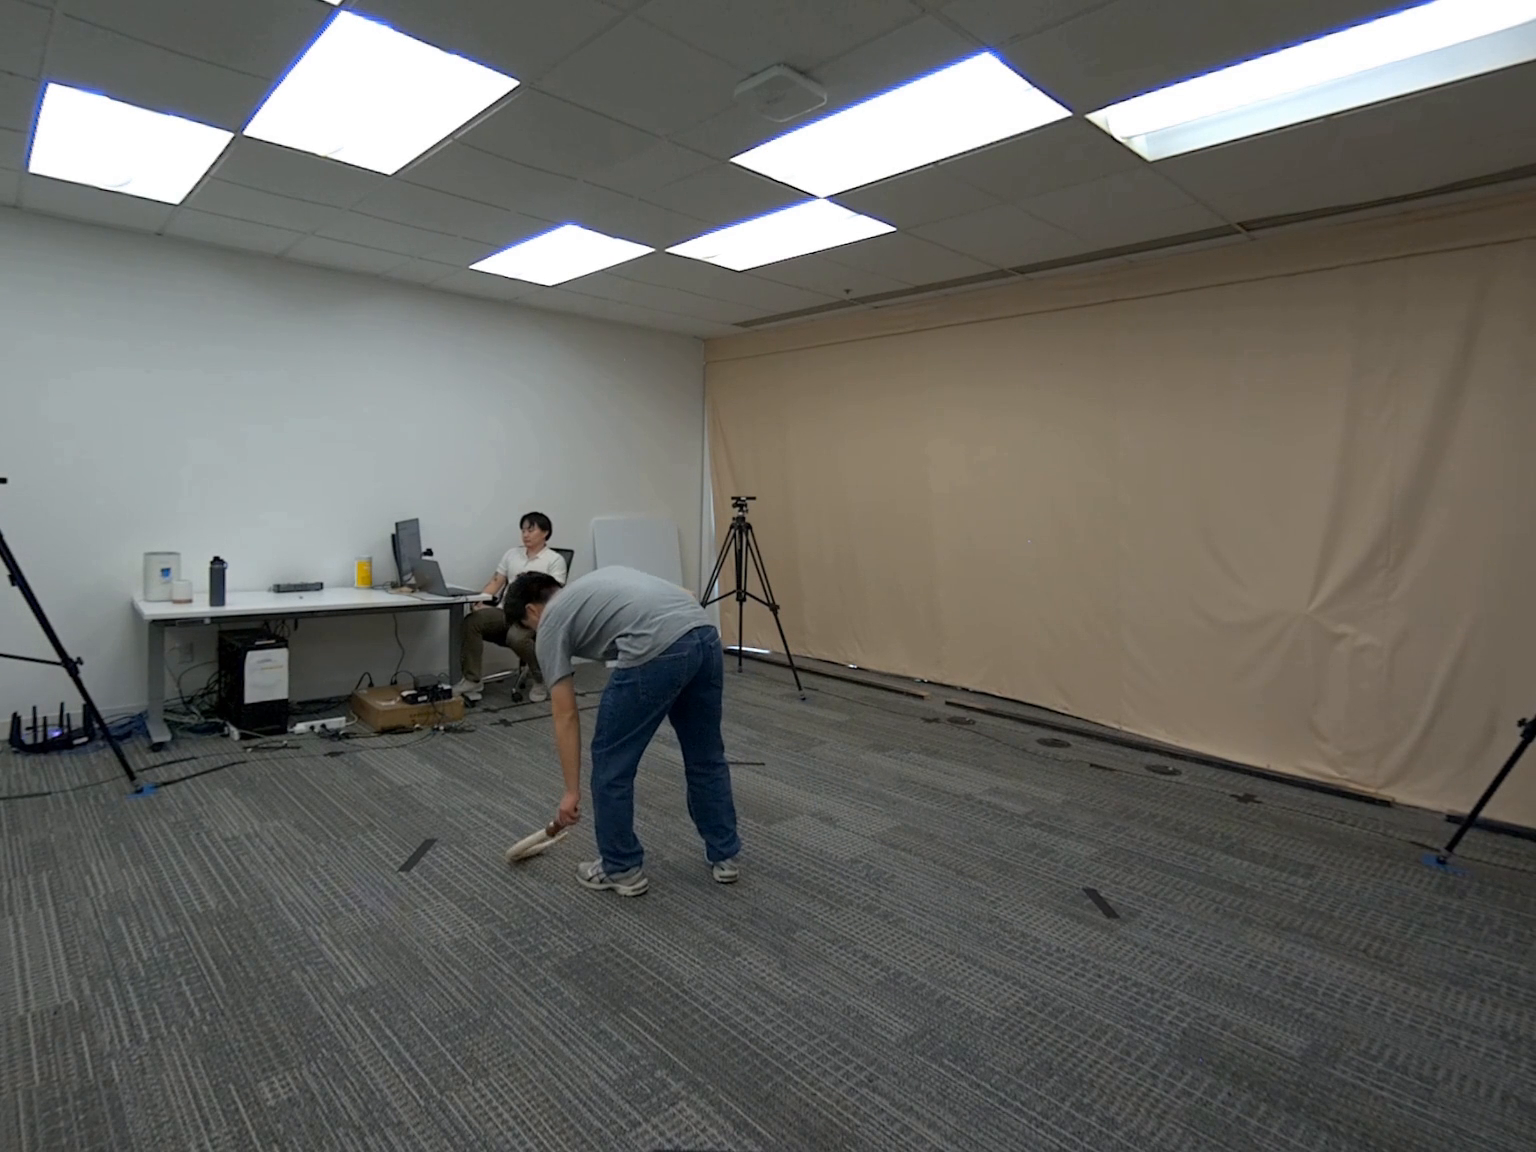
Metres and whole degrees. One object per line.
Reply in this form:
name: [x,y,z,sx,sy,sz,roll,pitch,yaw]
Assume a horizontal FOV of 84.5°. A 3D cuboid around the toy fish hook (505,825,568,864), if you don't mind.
toy fish hook: [-0.792,0.941,3.081,0.219,0.049,0.509,-4,-25,-46]
